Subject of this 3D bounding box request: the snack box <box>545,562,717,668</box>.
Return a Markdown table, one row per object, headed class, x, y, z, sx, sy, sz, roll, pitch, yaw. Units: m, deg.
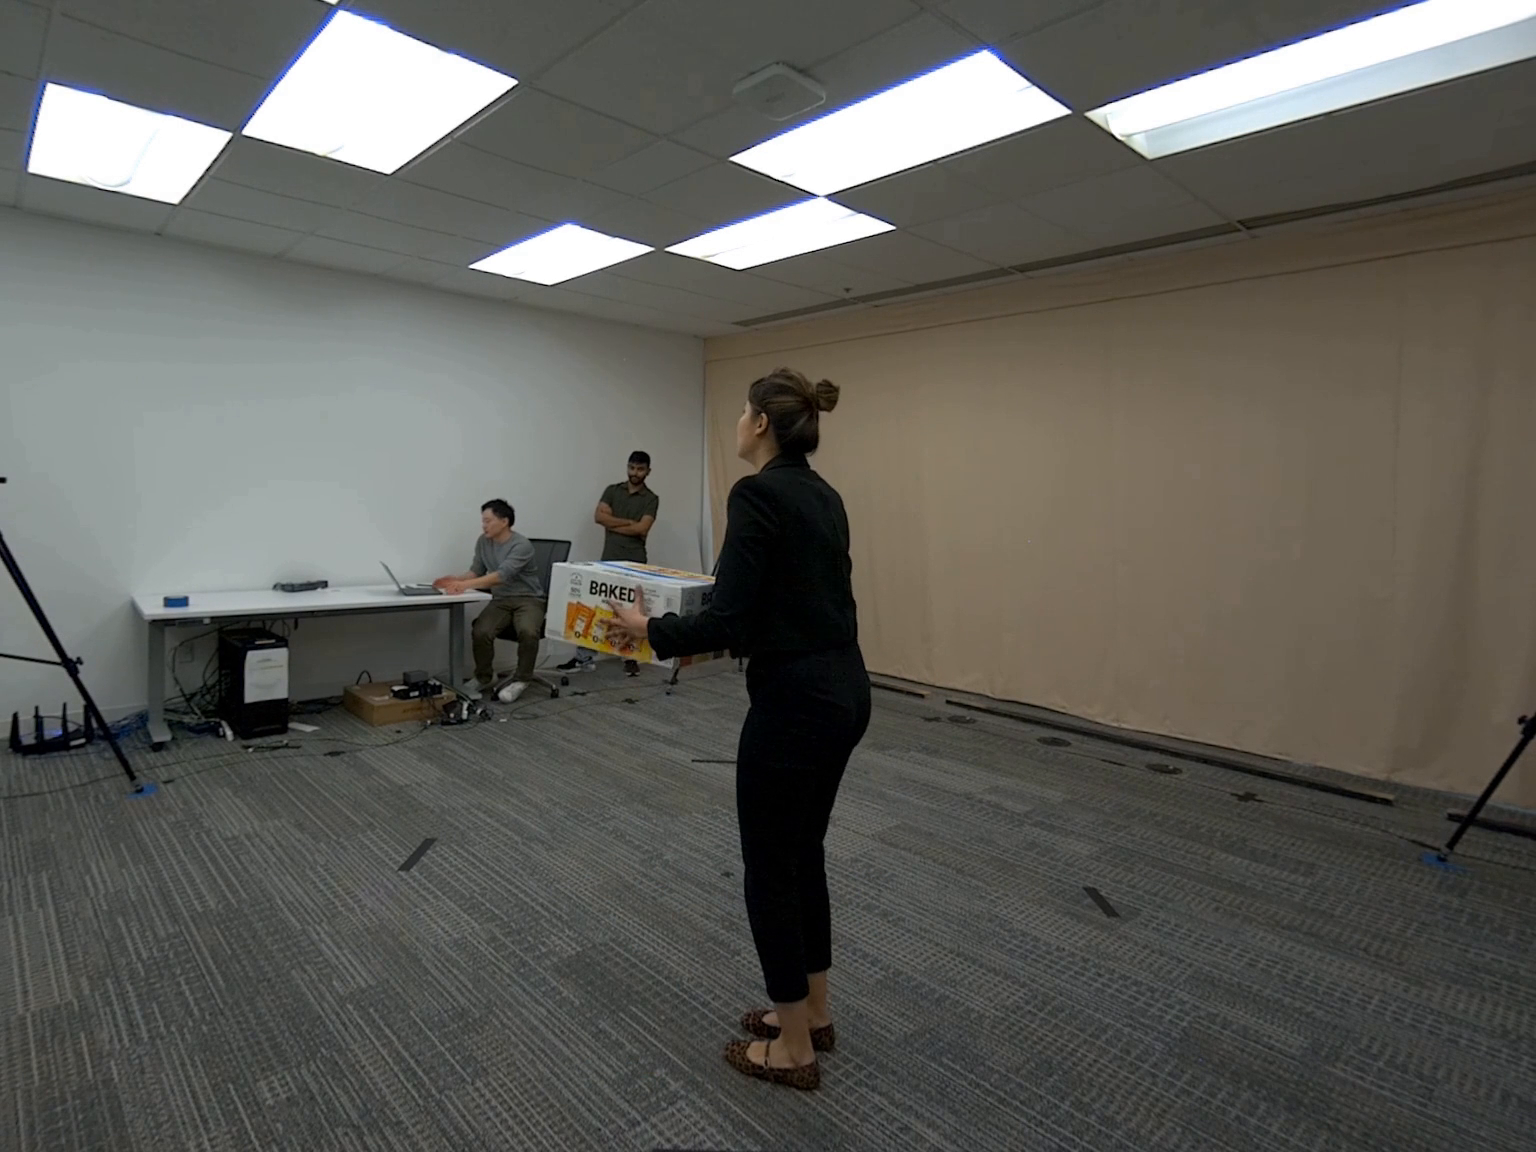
| class | x | y | z | sx | sy | sz | roll | pitch | yaw |
| --- | --- | --- | --- | --- | --- | --- | --- | --- | --- |
| snack box | -0.330 | 0.113 | 2.267 | 0.414 | 0.205 | 0.334 | 9 | 5 | 27 |
